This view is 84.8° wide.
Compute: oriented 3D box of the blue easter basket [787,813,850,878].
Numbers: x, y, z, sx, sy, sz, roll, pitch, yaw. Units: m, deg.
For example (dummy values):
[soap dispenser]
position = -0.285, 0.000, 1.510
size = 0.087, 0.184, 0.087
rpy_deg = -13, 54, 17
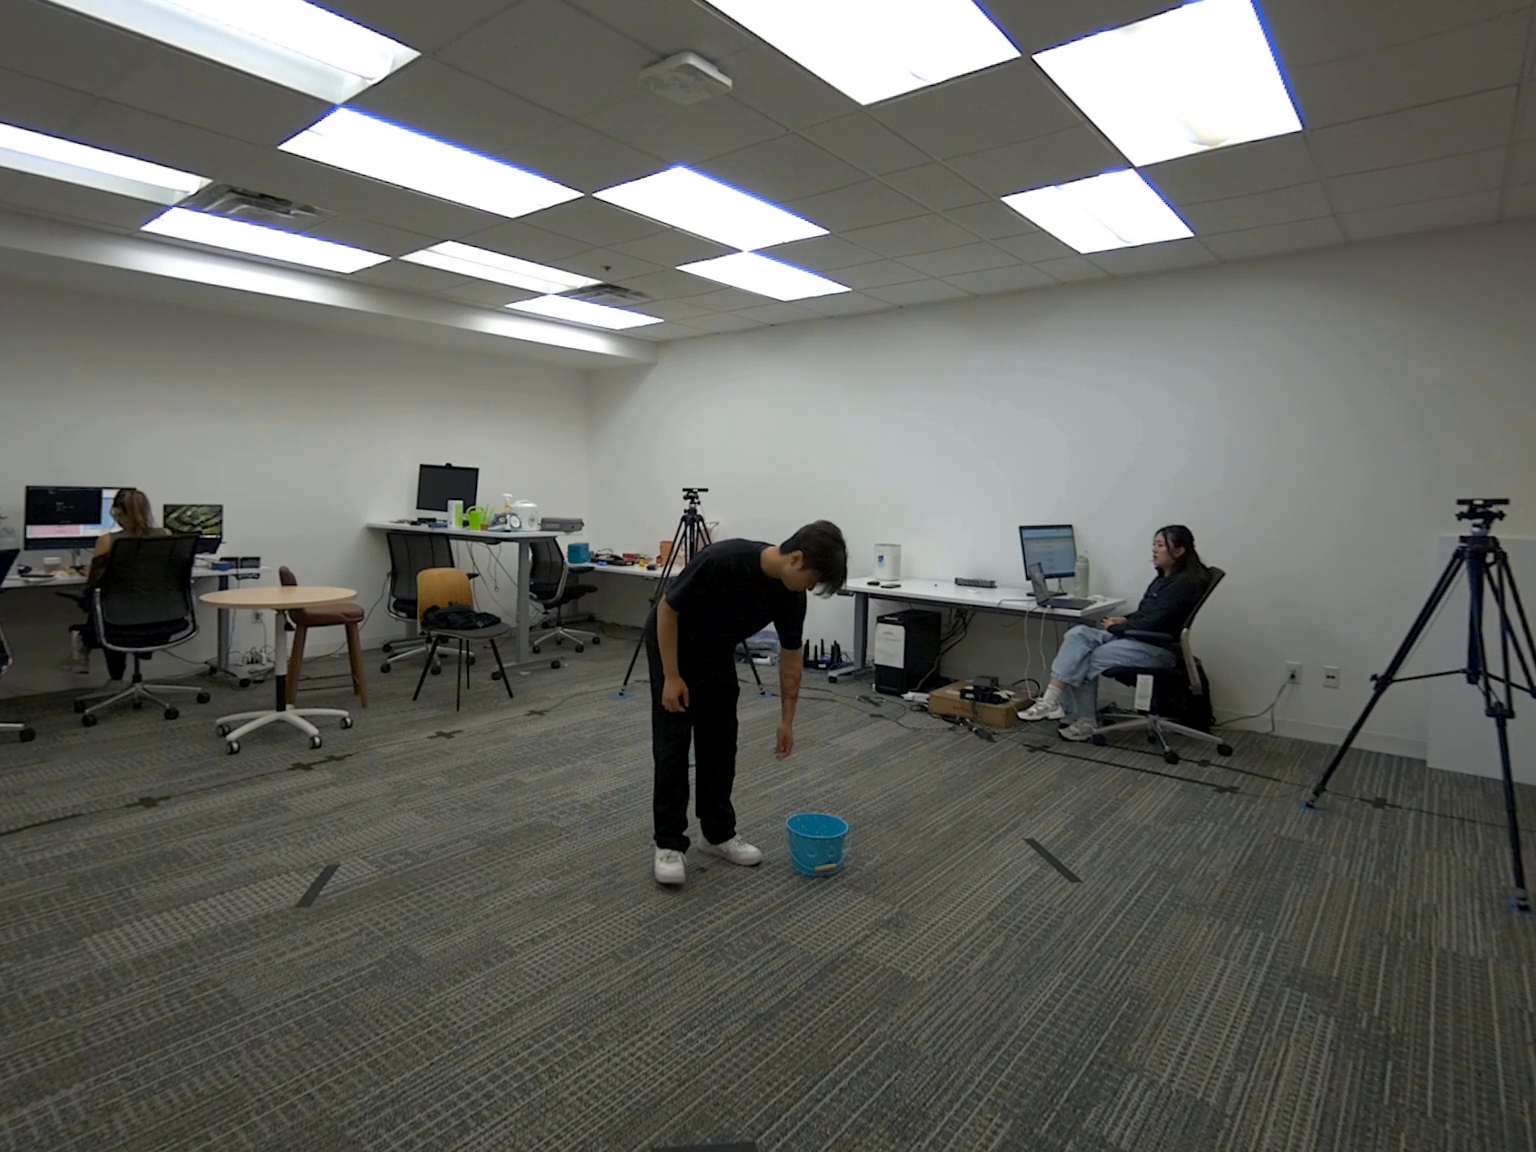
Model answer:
[blue easter basket]
position = 0.178, 0.997, 3.166
size = 0.243, 0.155, 0.245
rpy_deg = 1, 4, -2
